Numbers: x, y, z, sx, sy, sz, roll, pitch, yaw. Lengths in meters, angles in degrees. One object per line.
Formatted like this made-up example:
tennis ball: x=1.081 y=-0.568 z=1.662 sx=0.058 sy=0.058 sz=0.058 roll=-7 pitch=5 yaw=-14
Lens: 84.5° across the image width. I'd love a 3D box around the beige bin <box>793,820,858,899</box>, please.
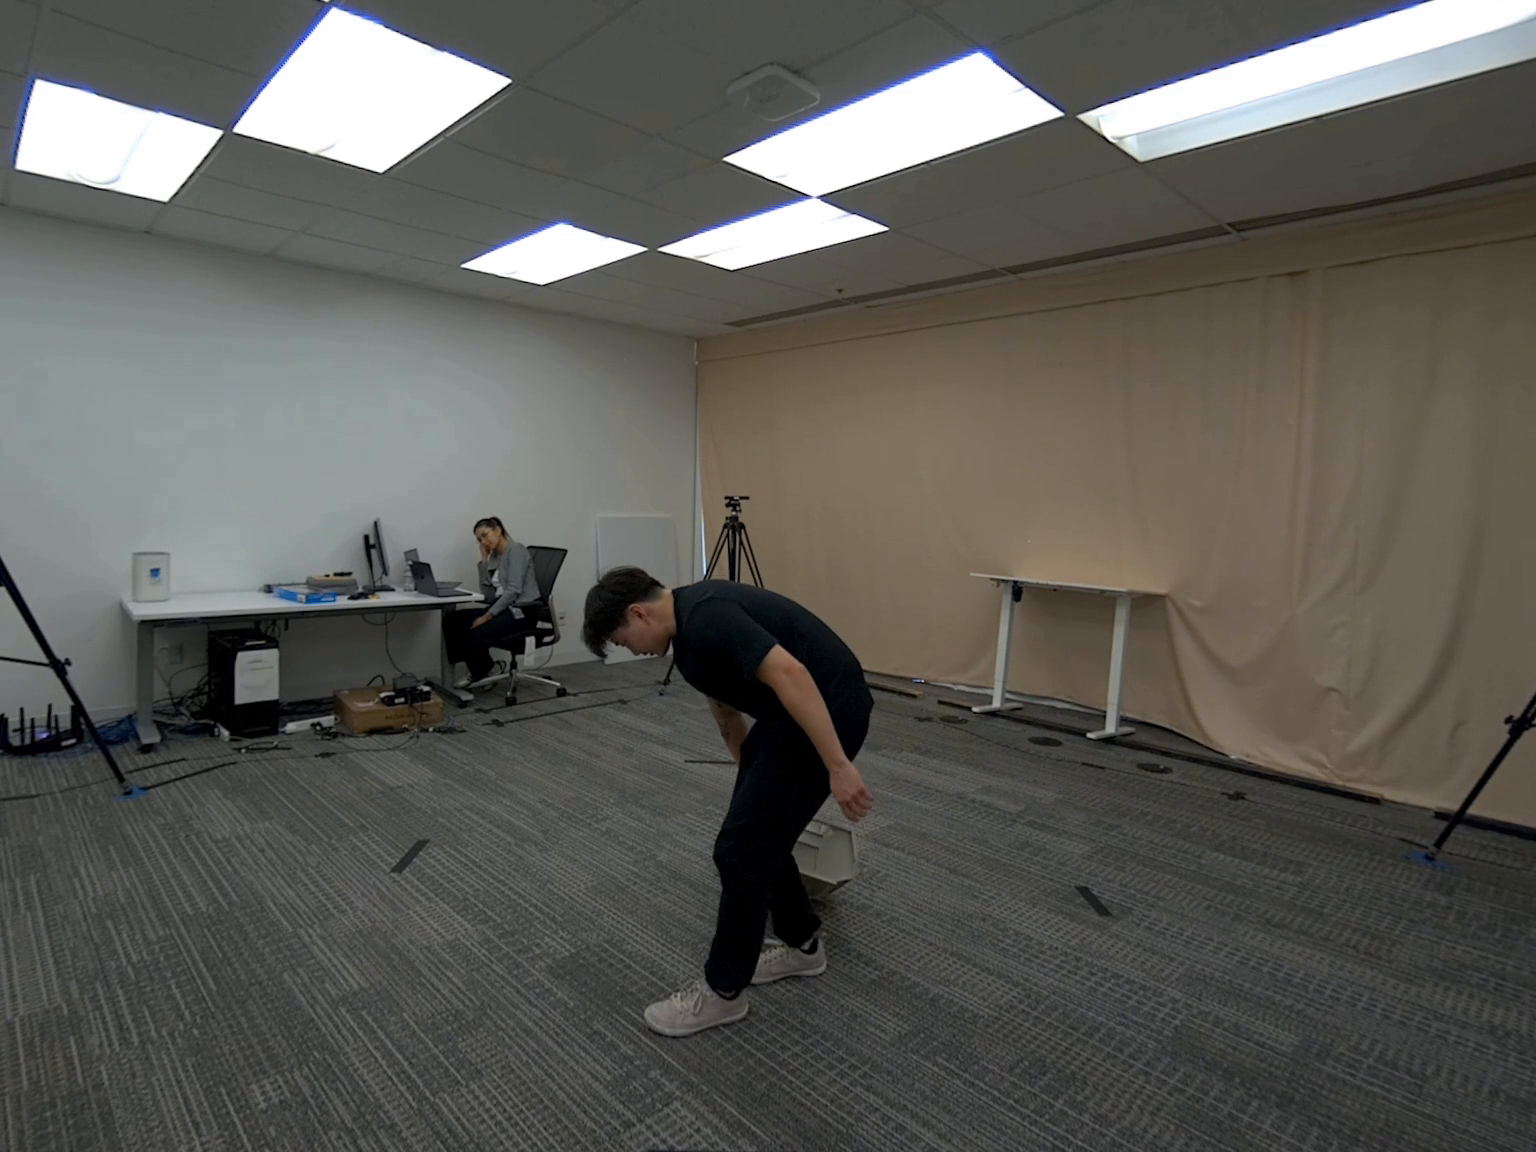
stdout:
beige bin: x=0.080 y=0.922 z=2.800 sx=0.379 sy=0.191 sz=0.416 roll=15 pitch=-27 yaw=3
